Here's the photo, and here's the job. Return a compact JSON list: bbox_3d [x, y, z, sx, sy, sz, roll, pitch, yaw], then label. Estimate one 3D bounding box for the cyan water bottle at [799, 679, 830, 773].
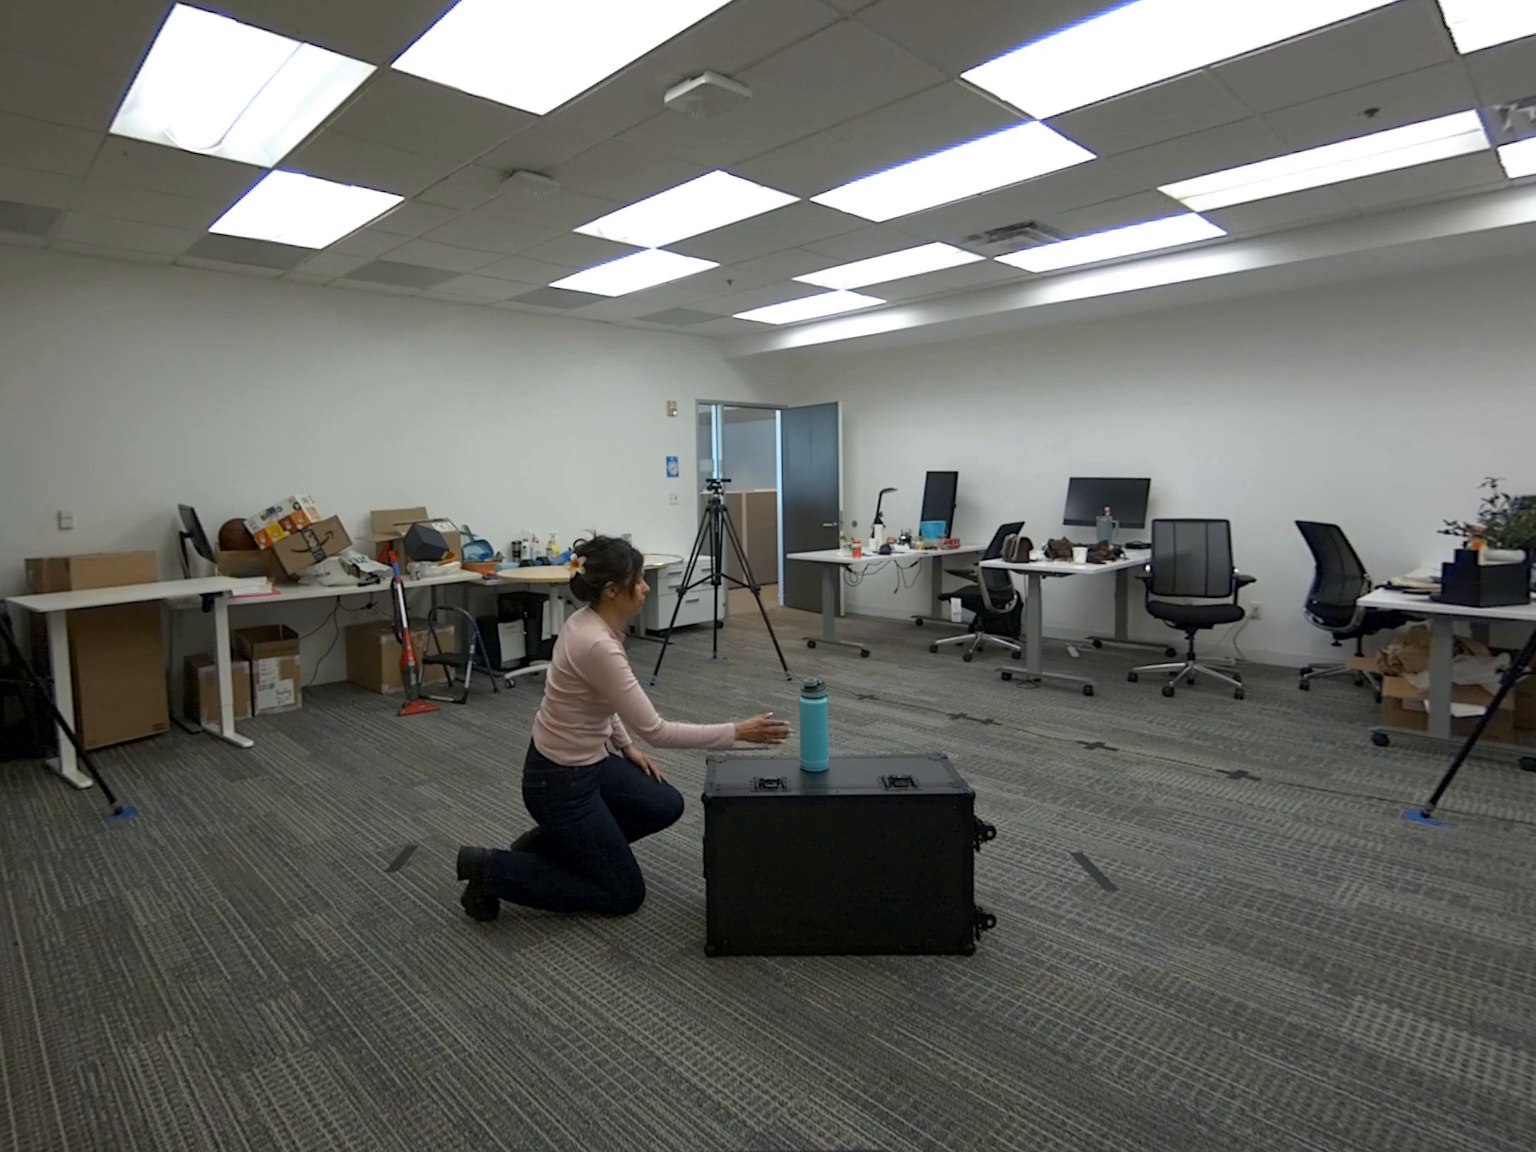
[{"bbox_3d":[0.144,0.465,2.691,0.092,0.282,0.093,0,3,-2],"label":"cyan water bottle"}]
